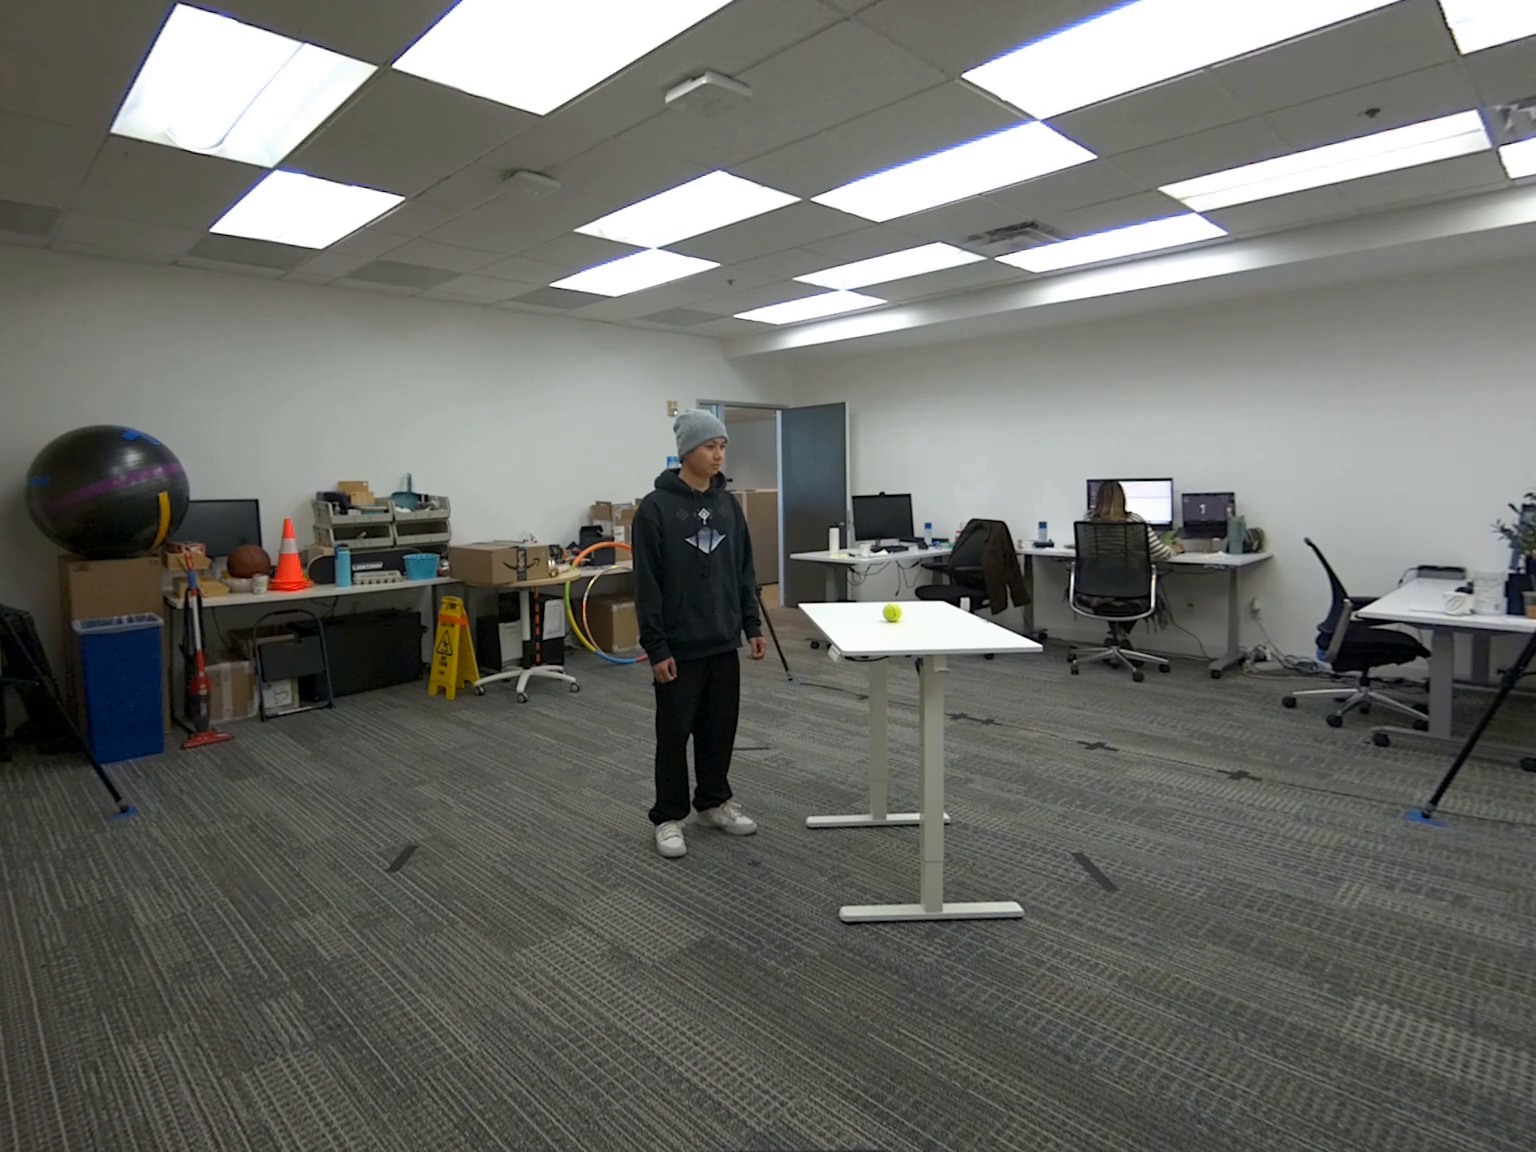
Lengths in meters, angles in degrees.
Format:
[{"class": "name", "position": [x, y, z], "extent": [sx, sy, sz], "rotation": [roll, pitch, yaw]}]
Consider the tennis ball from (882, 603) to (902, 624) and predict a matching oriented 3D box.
[{"class": "tennis ball", "position": [0.432, 0.128, 3.024], "extent": [0.066, 0.066, 0.067], "rotation": [-1, 5, -2]}]
